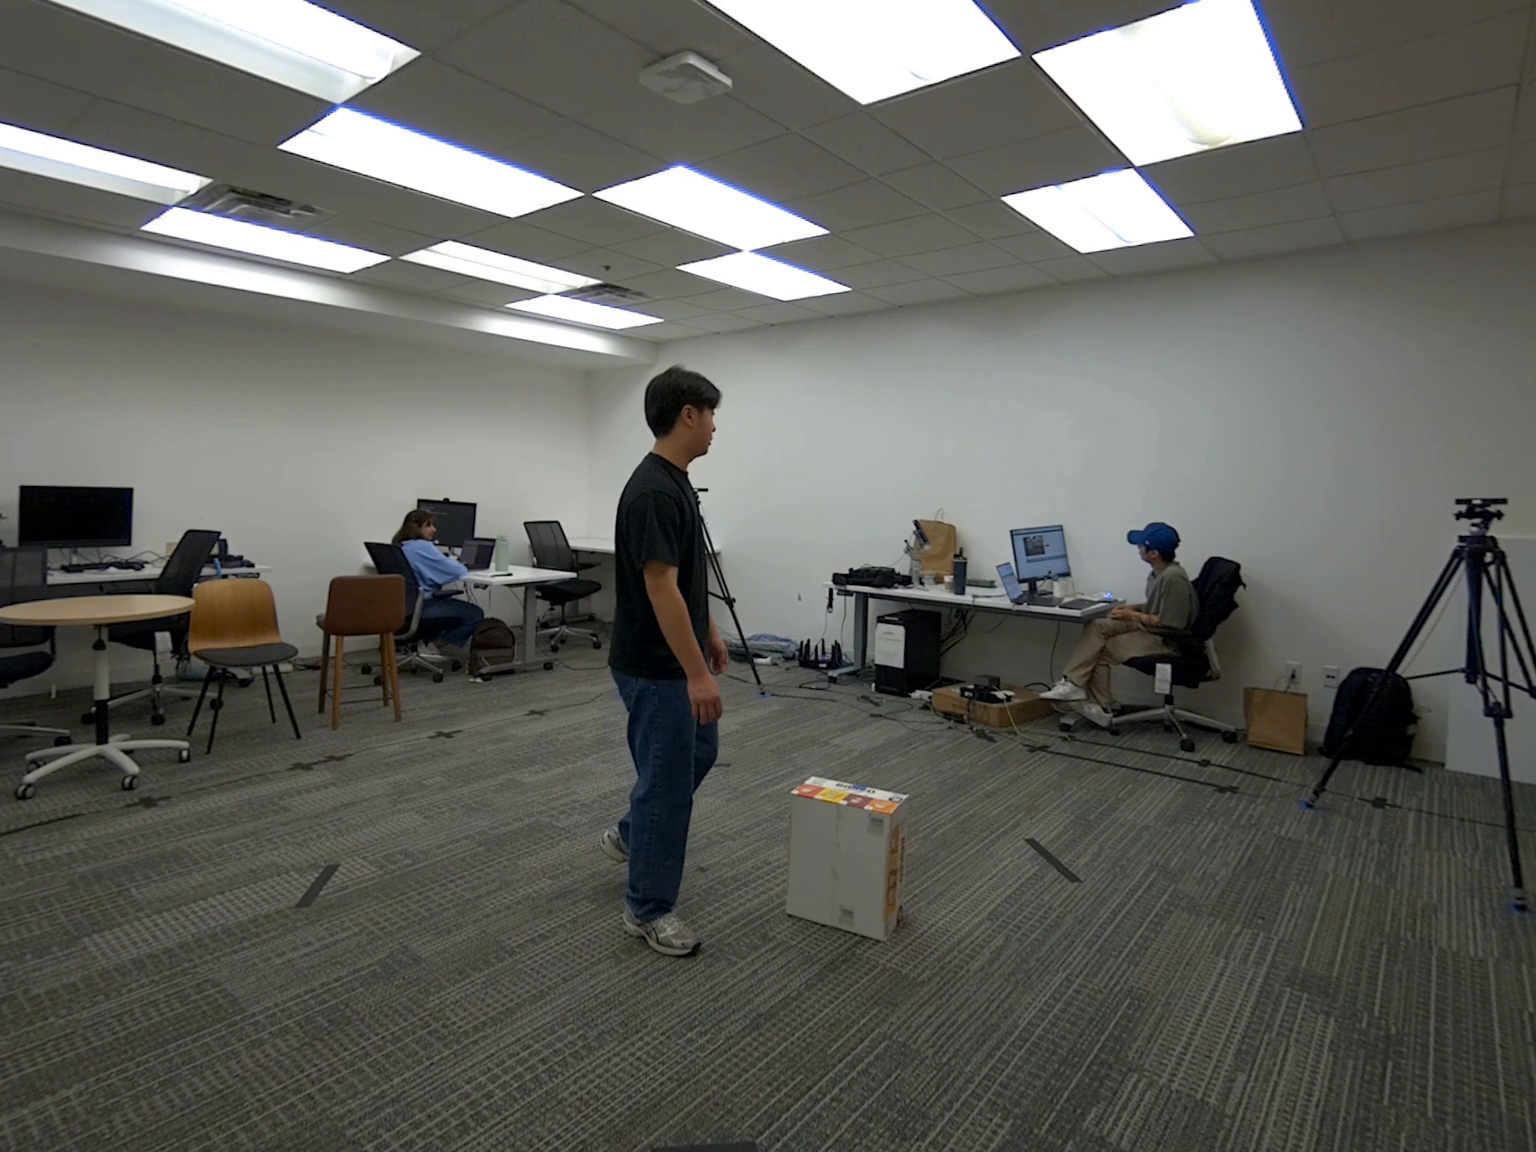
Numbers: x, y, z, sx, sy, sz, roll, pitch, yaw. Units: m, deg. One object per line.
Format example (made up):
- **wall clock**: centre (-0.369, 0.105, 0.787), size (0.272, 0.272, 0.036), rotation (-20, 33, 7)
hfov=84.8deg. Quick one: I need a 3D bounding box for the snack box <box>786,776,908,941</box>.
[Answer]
- **snack box**: centre (0.253, 0.912, 2.778), size (0.350, 0.404, 0.200), rotation (4, 3, 29)
